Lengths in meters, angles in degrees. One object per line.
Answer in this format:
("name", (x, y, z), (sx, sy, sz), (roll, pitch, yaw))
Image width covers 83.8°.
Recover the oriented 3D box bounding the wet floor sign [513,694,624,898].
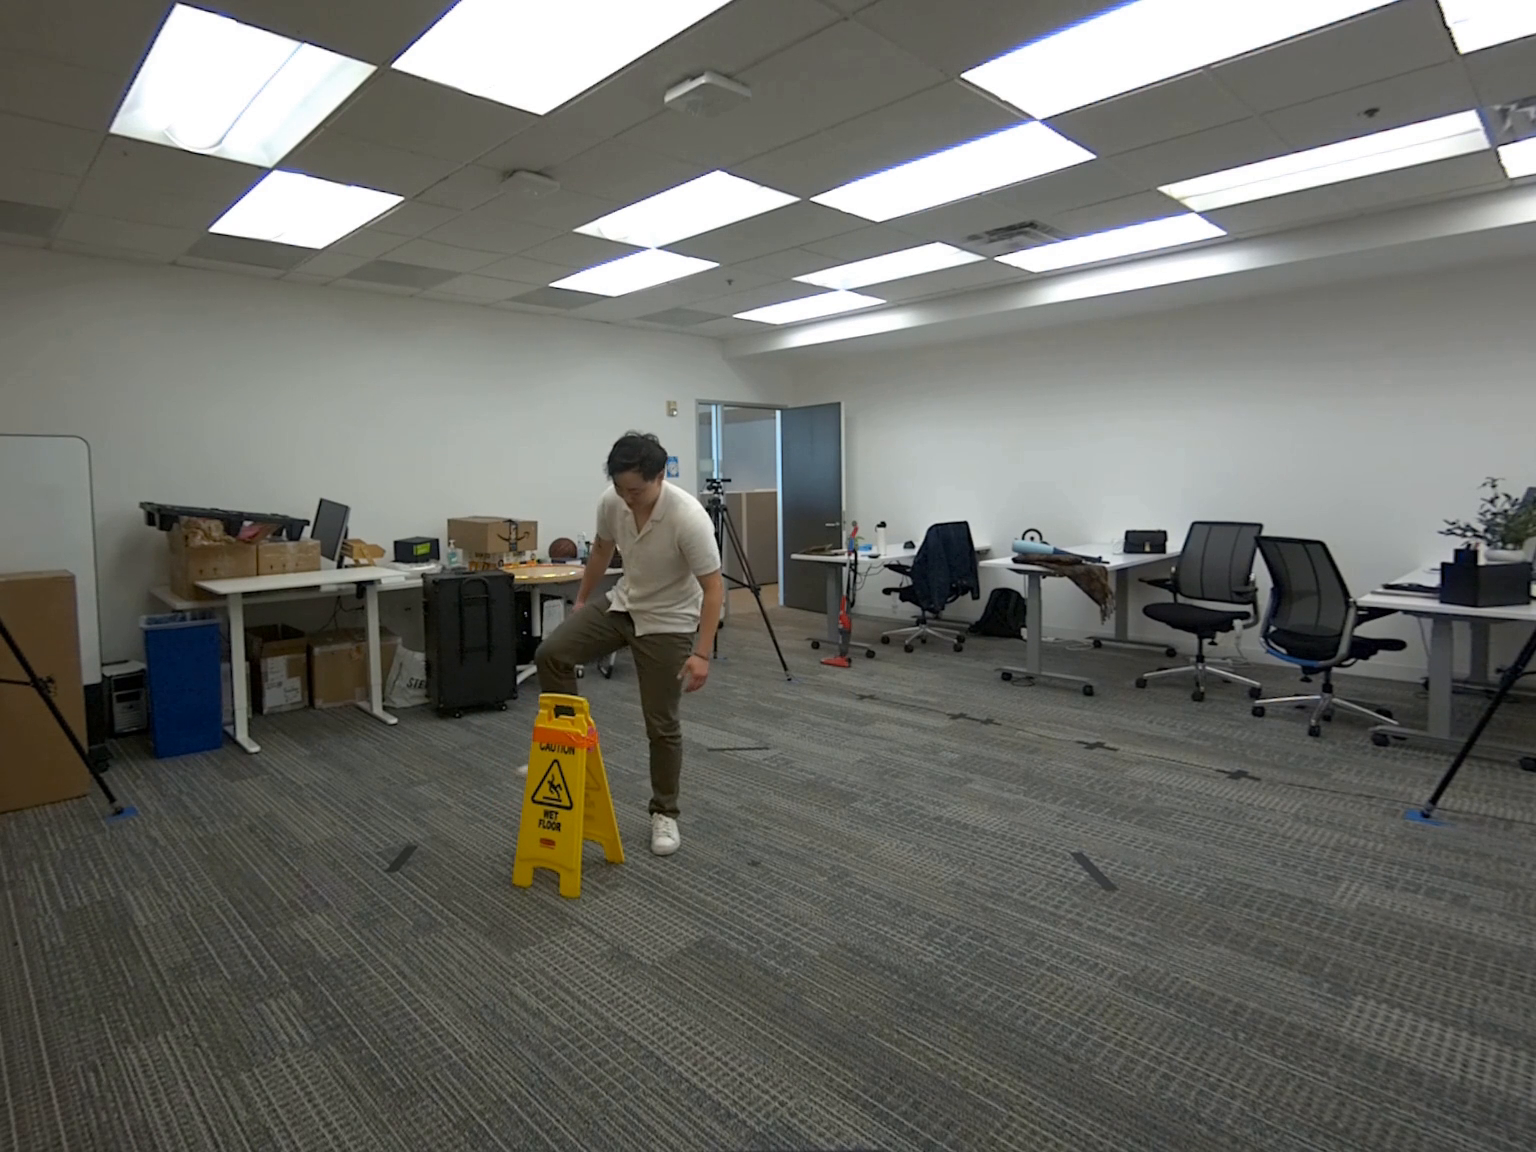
("wet floor sign", (-0.714, 0.742, 3.033), (0.288, 0.644, 0.284), (-1, 4, 24))
